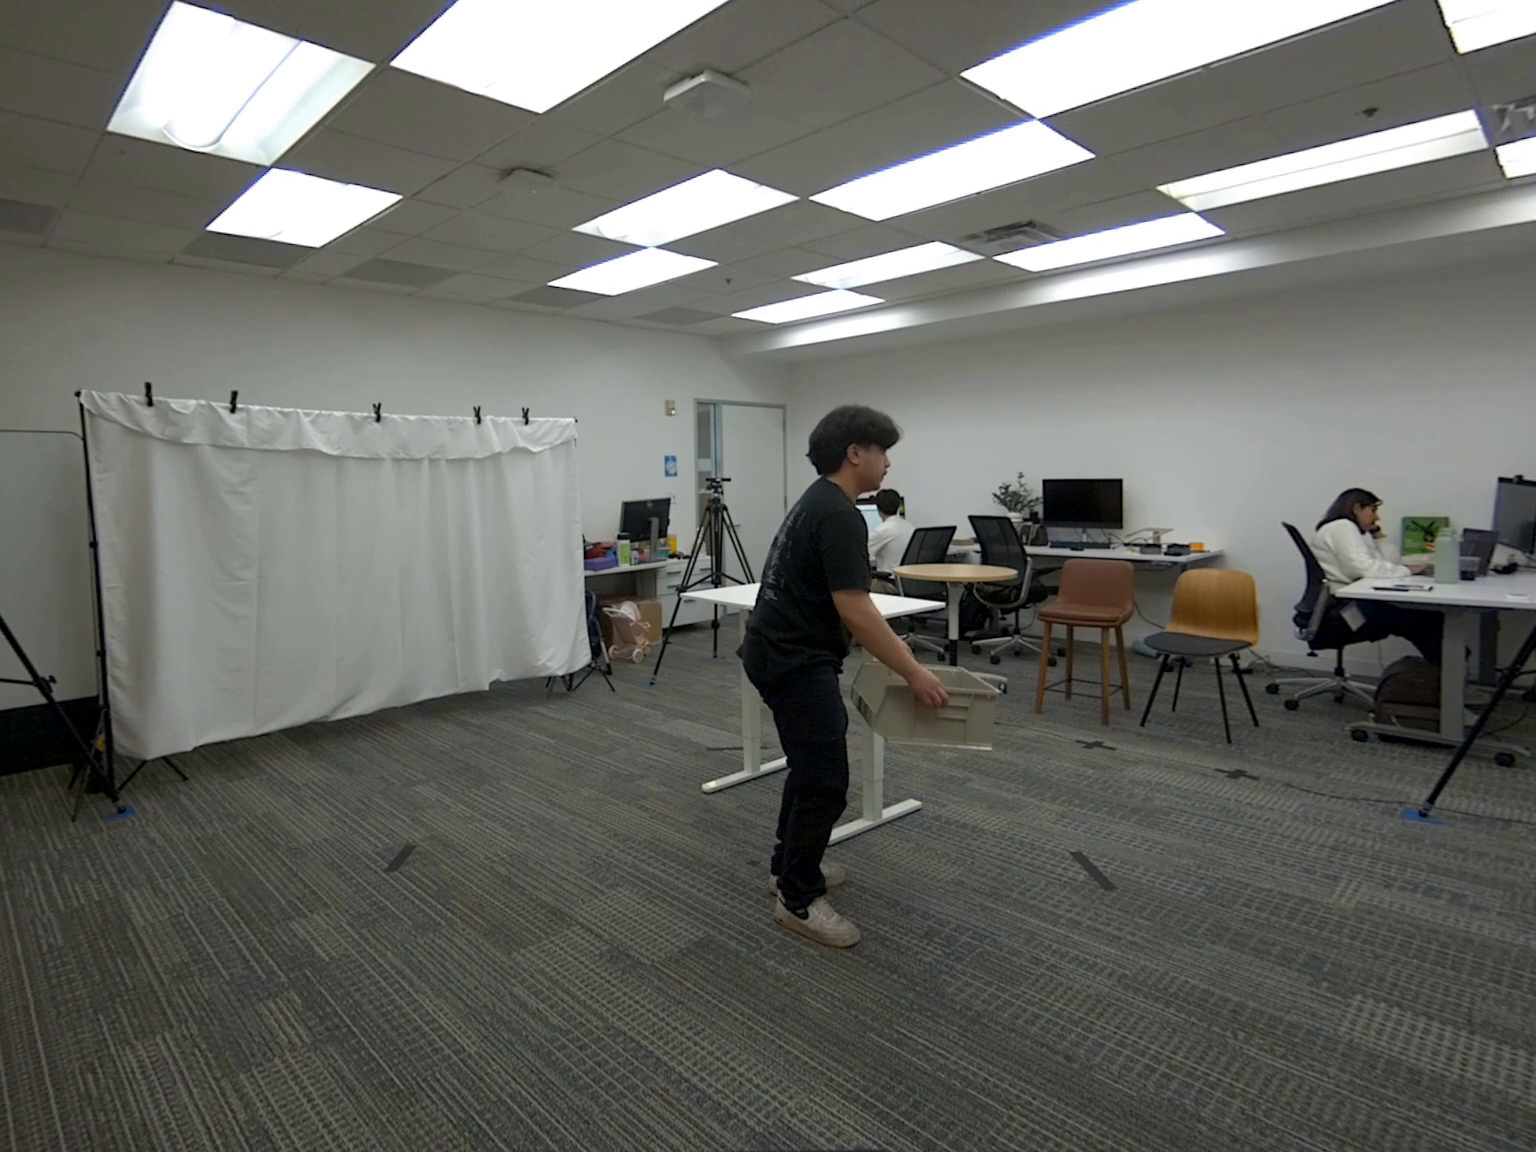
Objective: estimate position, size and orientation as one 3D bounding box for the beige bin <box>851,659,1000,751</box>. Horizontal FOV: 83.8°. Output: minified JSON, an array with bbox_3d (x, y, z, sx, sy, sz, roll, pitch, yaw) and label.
[{"bbox_3d":[0.476,0.402,2.734,0.376,0.188,0.425,2,5,-3],"label":"beige bin"}]
